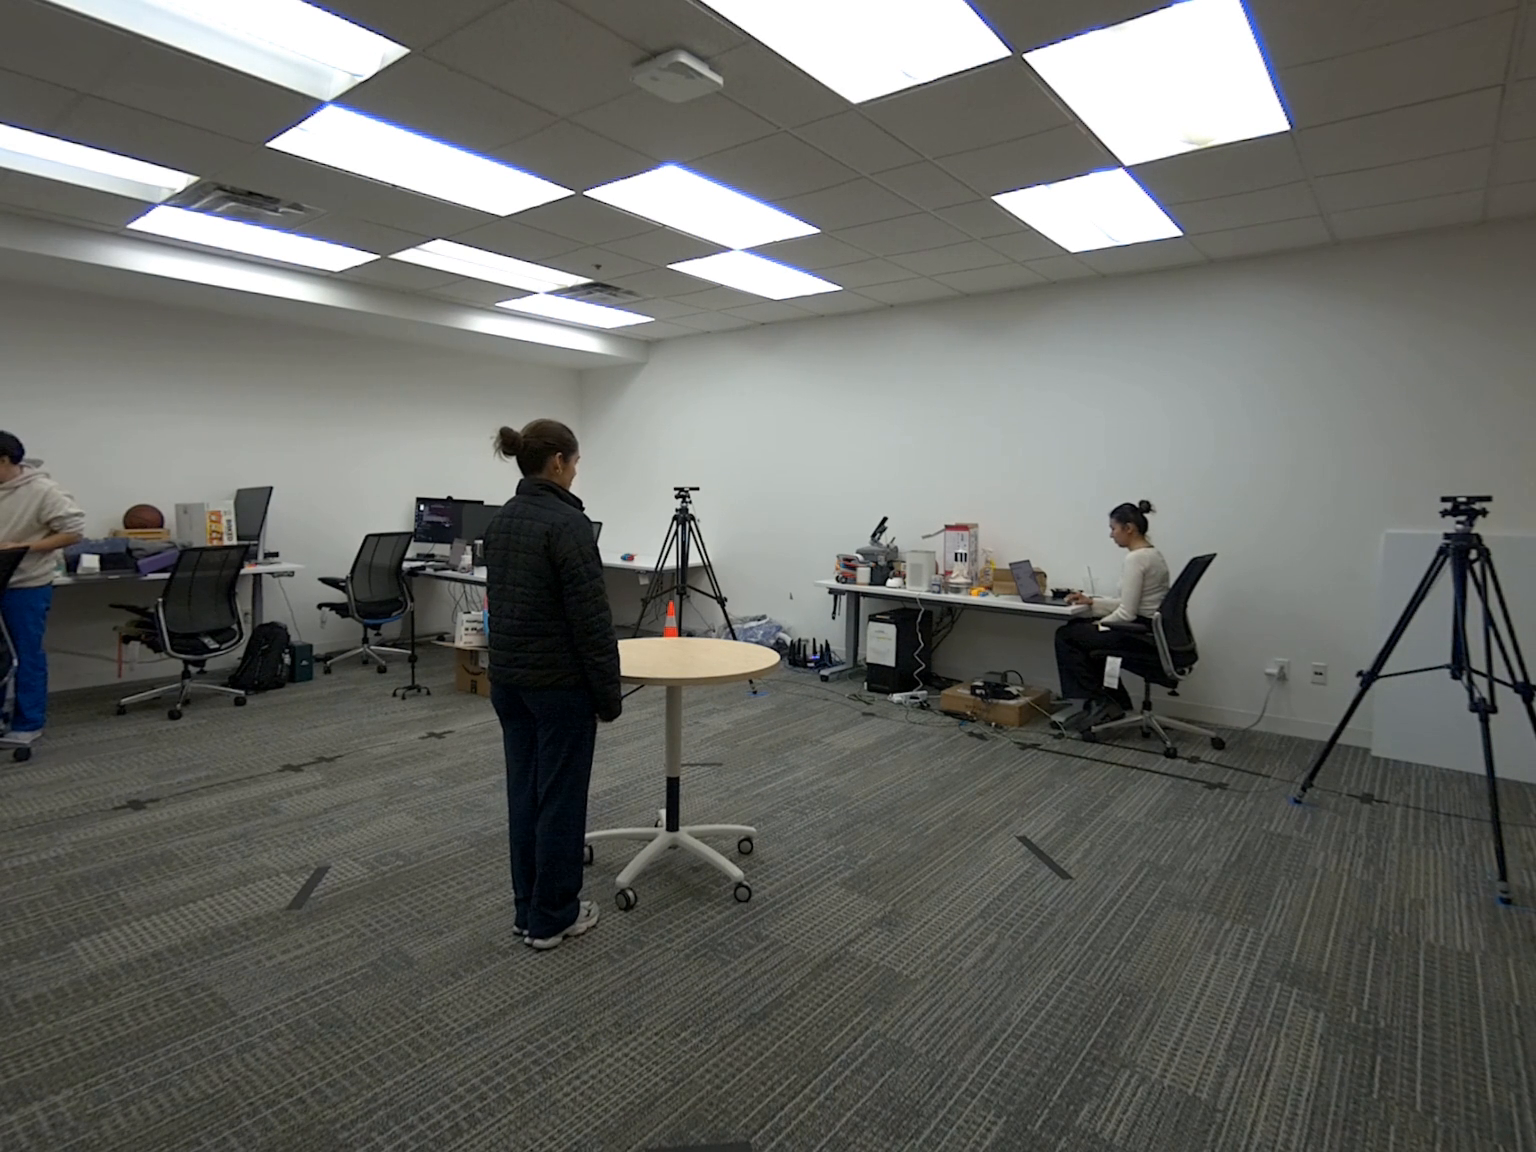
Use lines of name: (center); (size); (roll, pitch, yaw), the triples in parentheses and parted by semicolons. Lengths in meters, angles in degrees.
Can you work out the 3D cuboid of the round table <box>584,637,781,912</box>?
round table: (-0.340, 0.672, 3.113); (0.784, 0.784, 0.789); (1, 4, -2)
